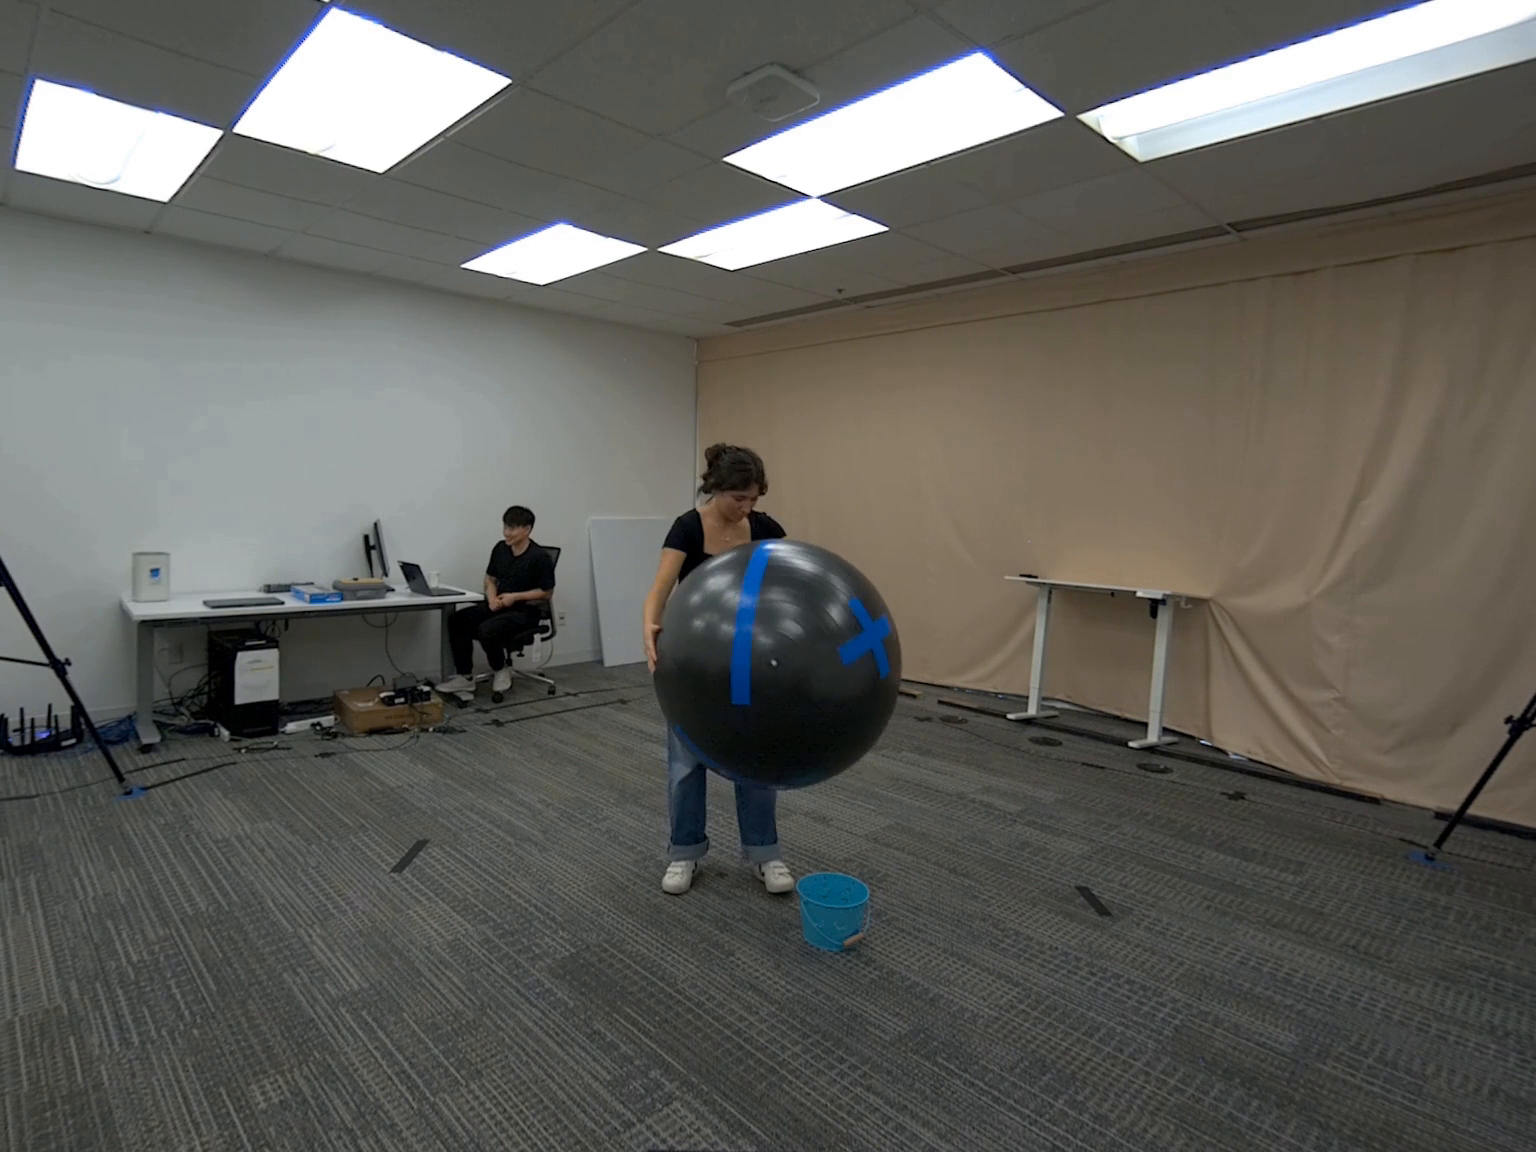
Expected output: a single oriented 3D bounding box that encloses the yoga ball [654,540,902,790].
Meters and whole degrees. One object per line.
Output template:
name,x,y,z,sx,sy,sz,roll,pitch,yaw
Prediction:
yoga ball,0.021,0.270,2.581,0.757,0.756,0.761,1,4,-1
